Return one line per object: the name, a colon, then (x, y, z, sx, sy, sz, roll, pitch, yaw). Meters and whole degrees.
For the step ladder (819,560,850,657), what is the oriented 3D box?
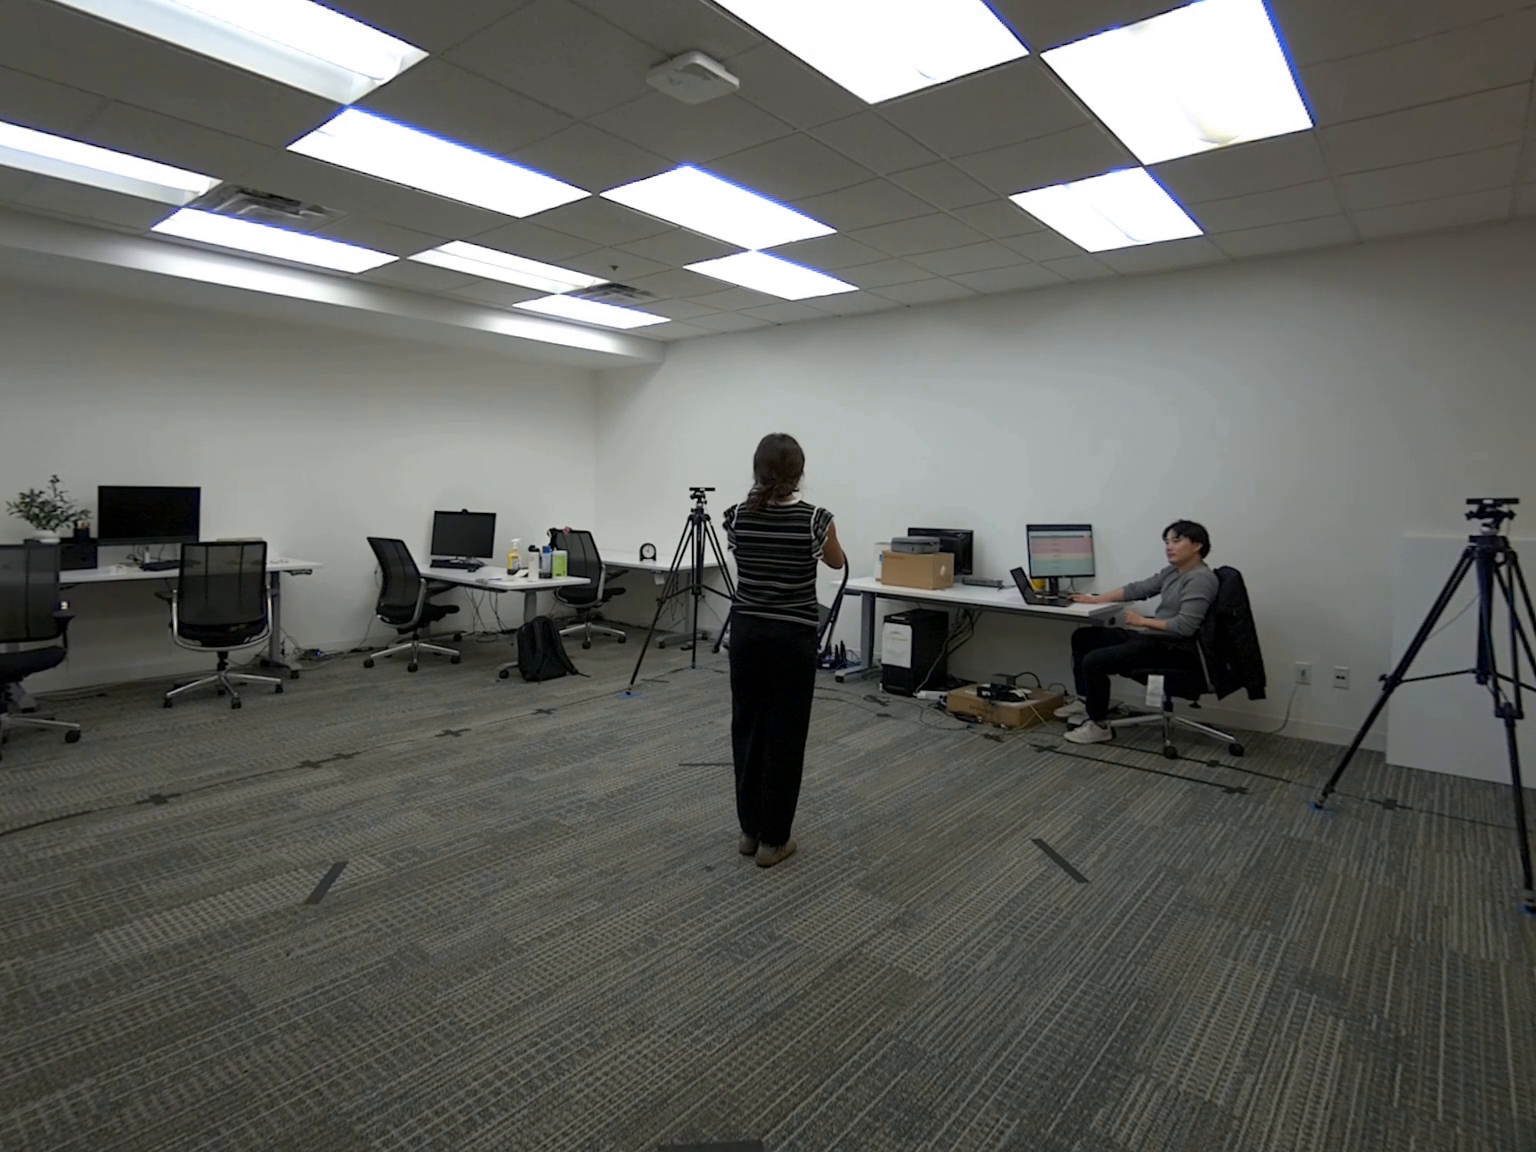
step ladder: (0.075, 0.093, 3.582, 0.441, 0.596, 0.347, 26, 32, 16)
